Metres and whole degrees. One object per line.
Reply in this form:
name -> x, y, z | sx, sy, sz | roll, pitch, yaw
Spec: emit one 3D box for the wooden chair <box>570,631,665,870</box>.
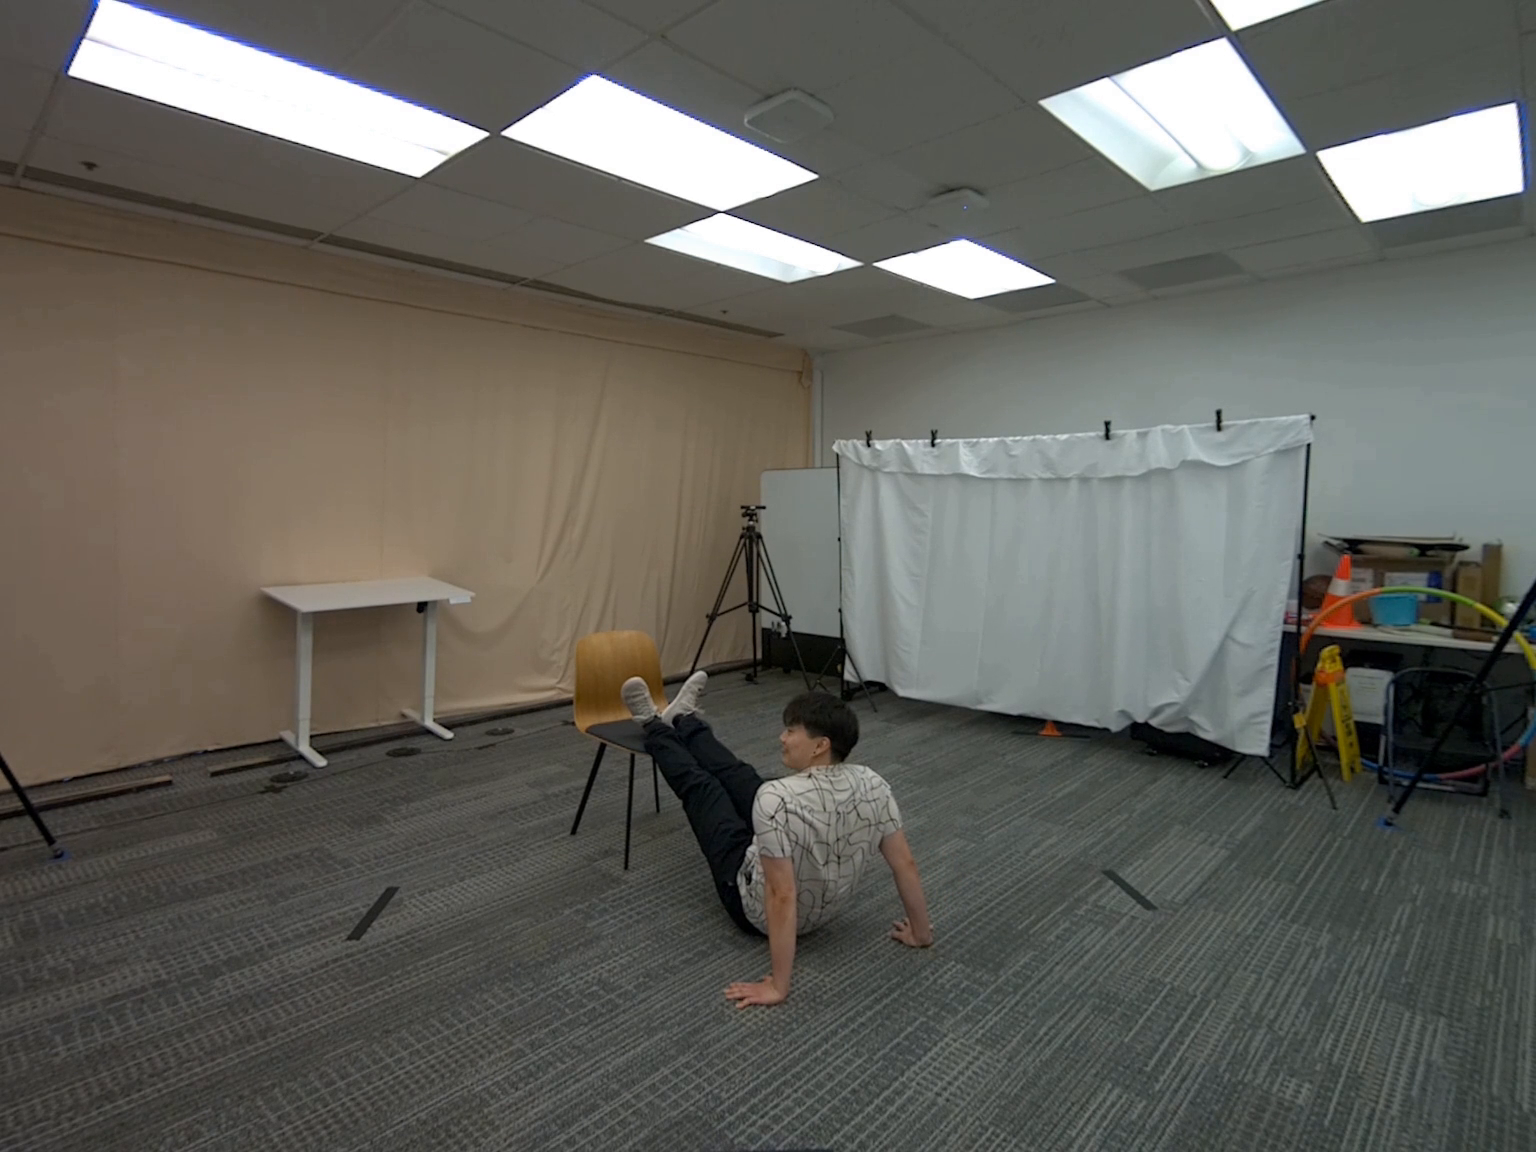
wooden chair -> -0.520, 0.678, 3.505 | 0.464, 0.878, 0.539 | -3, 0, -39
